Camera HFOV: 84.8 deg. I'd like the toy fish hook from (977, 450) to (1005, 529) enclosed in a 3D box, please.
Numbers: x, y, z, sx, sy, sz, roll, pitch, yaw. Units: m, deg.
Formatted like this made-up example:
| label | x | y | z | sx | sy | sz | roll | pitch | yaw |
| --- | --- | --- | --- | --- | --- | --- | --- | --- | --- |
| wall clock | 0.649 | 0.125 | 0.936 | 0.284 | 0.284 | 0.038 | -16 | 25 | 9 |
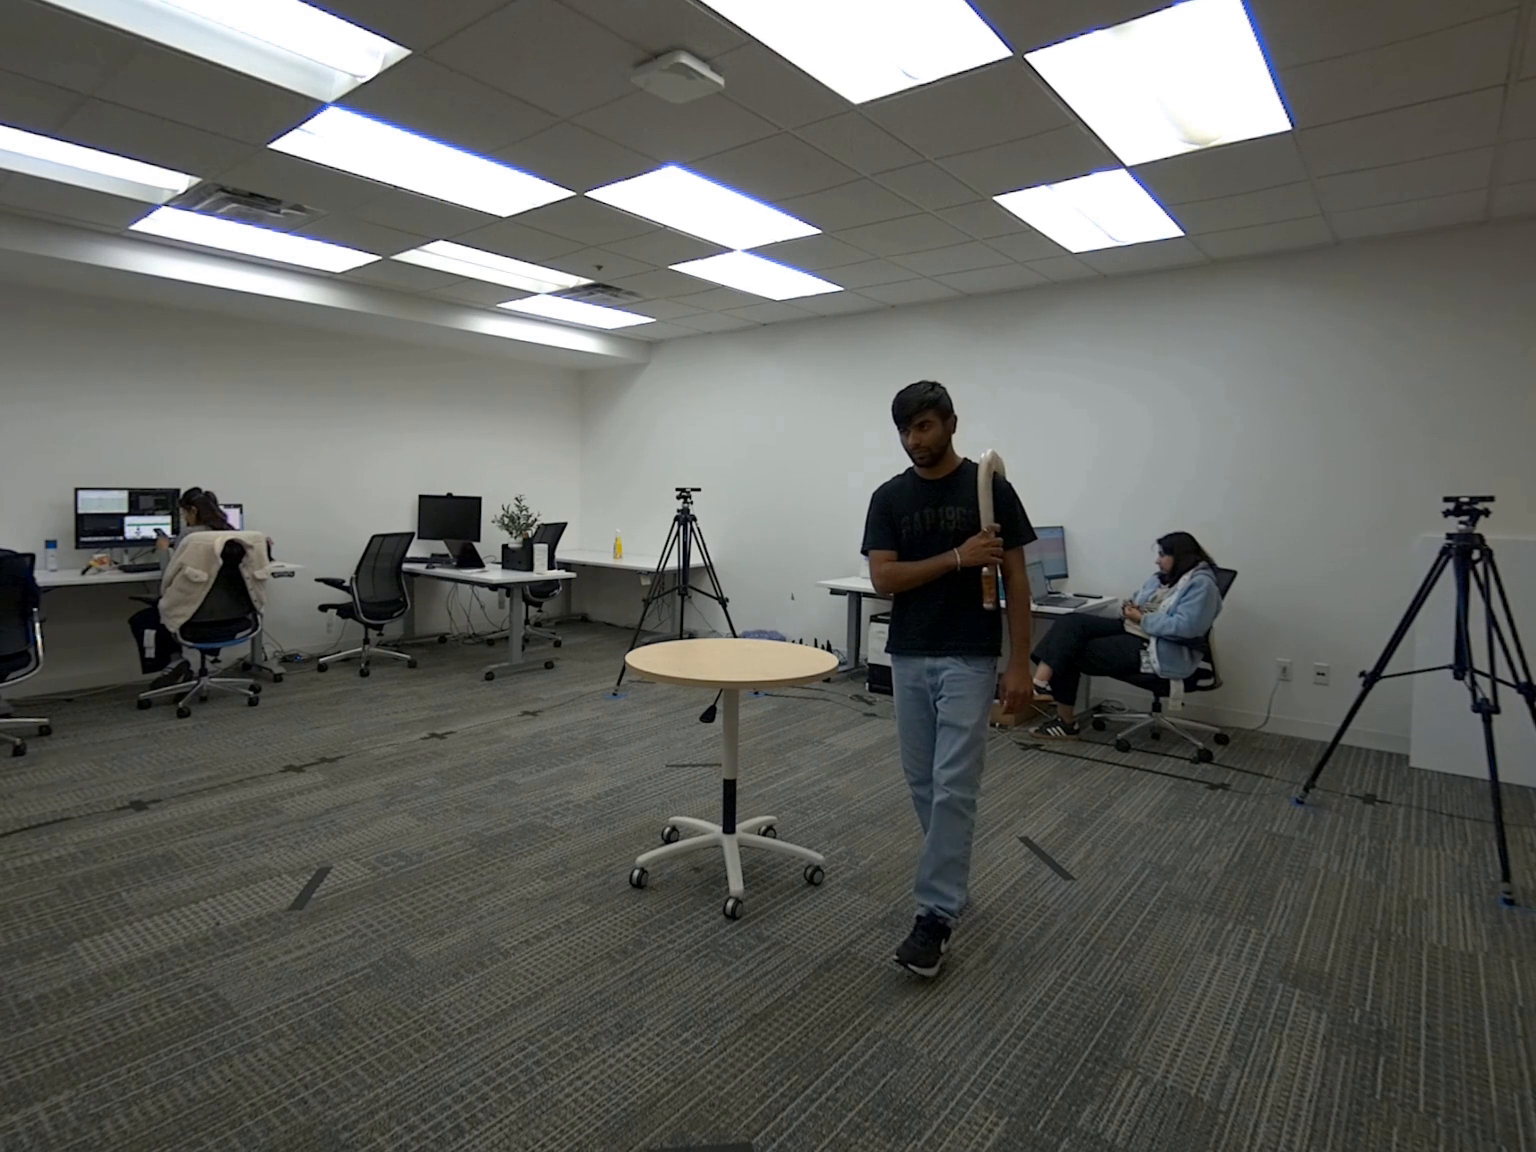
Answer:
| label | x | y | z | sx | sy | sz | roll | pitch | yaw |
| --- | --- | --- | --- | --- | --- | --- | --- | --- | --- |
| toy fish hook | 0.700 | -0.143 | 2.625 | 0.049 | 0.512 | 0.216 | -6 | -14 | 39 |
